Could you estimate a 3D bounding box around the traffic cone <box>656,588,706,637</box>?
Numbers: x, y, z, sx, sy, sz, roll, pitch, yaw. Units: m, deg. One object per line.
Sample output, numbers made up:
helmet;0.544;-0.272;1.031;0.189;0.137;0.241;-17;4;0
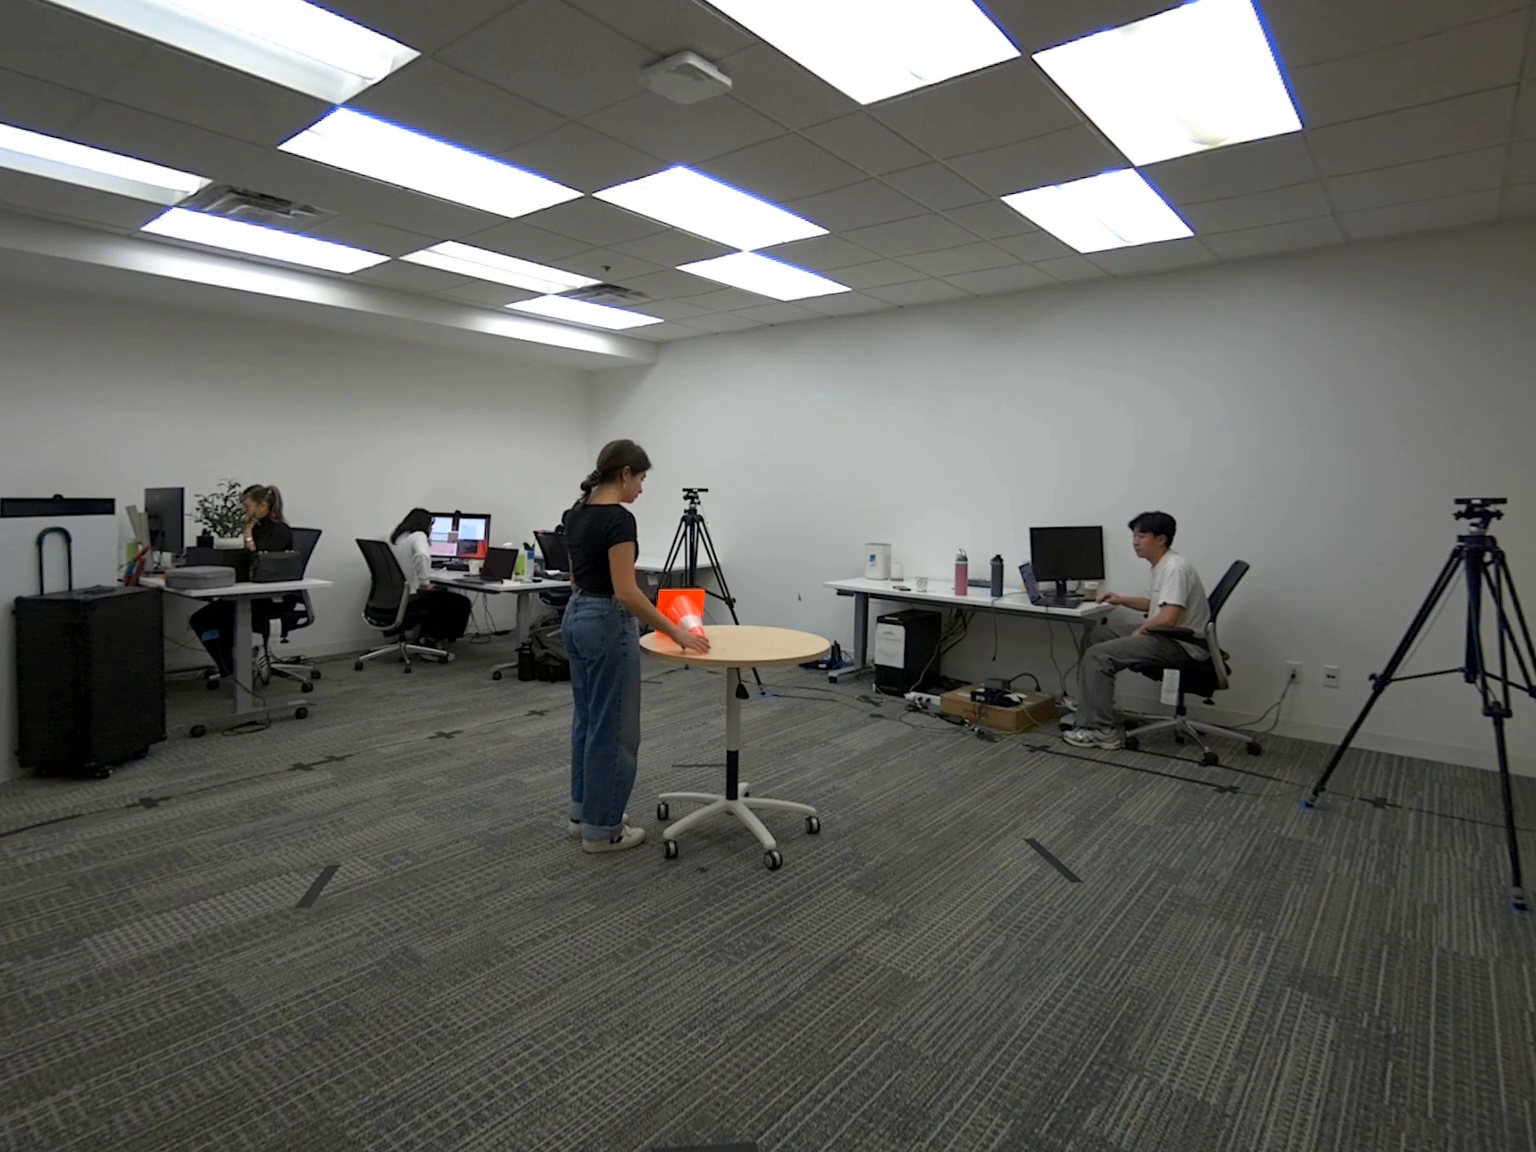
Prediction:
traffic cone;-0.305;0.201;3.375;0.199;0.202;0.397;2;17;-22
